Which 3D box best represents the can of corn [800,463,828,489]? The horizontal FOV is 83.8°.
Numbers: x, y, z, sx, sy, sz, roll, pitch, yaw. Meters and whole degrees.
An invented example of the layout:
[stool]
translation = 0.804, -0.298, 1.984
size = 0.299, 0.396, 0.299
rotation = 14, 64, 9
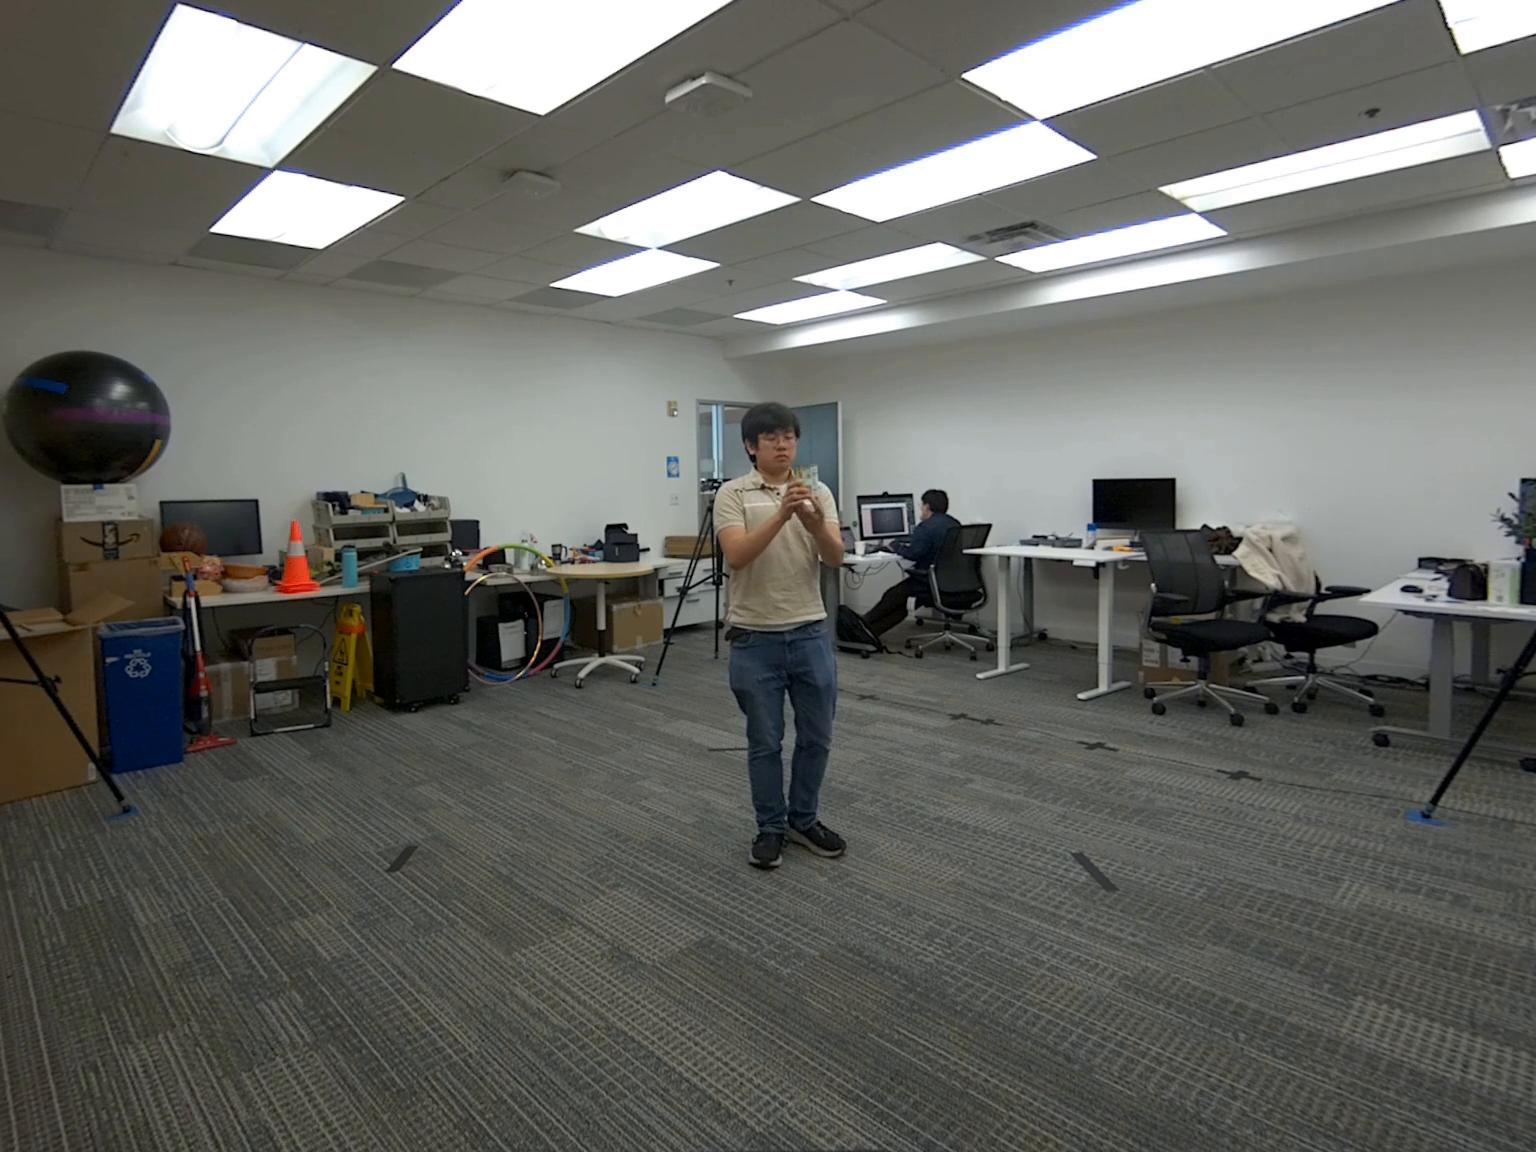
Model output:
[can of corn]
translation = 0.150, -0.312, 2.836
size = 0.074, 0.111, 0.074
rotation = -6, 2, -1
